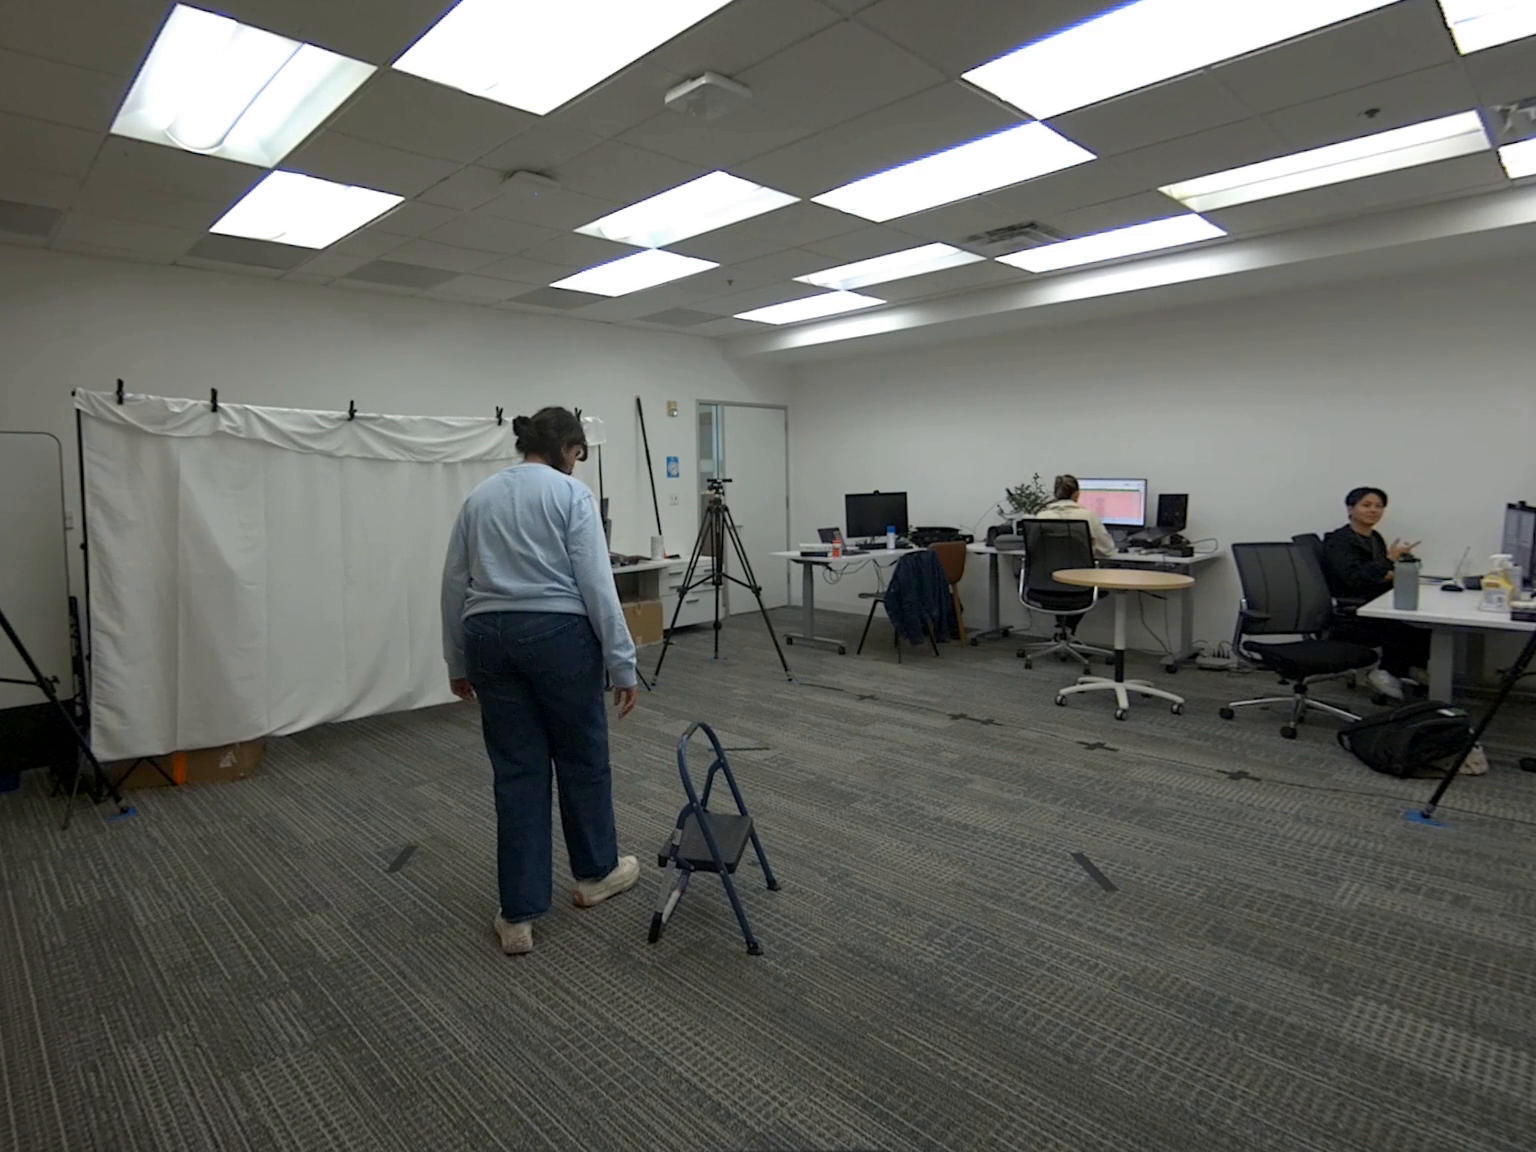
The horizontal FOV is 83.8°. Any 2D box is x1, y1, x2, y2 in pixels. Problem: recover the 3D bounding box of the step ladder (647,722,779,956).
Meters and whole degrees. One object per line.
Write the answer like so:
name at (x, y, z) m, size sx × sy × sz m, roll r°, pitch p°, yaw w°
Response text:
step ladder at (-0.168, 0.788, 2.729) m, size 0.353 × 0.604 × 0.428 m, roll 0°, pitch 5°, yaw 10°
